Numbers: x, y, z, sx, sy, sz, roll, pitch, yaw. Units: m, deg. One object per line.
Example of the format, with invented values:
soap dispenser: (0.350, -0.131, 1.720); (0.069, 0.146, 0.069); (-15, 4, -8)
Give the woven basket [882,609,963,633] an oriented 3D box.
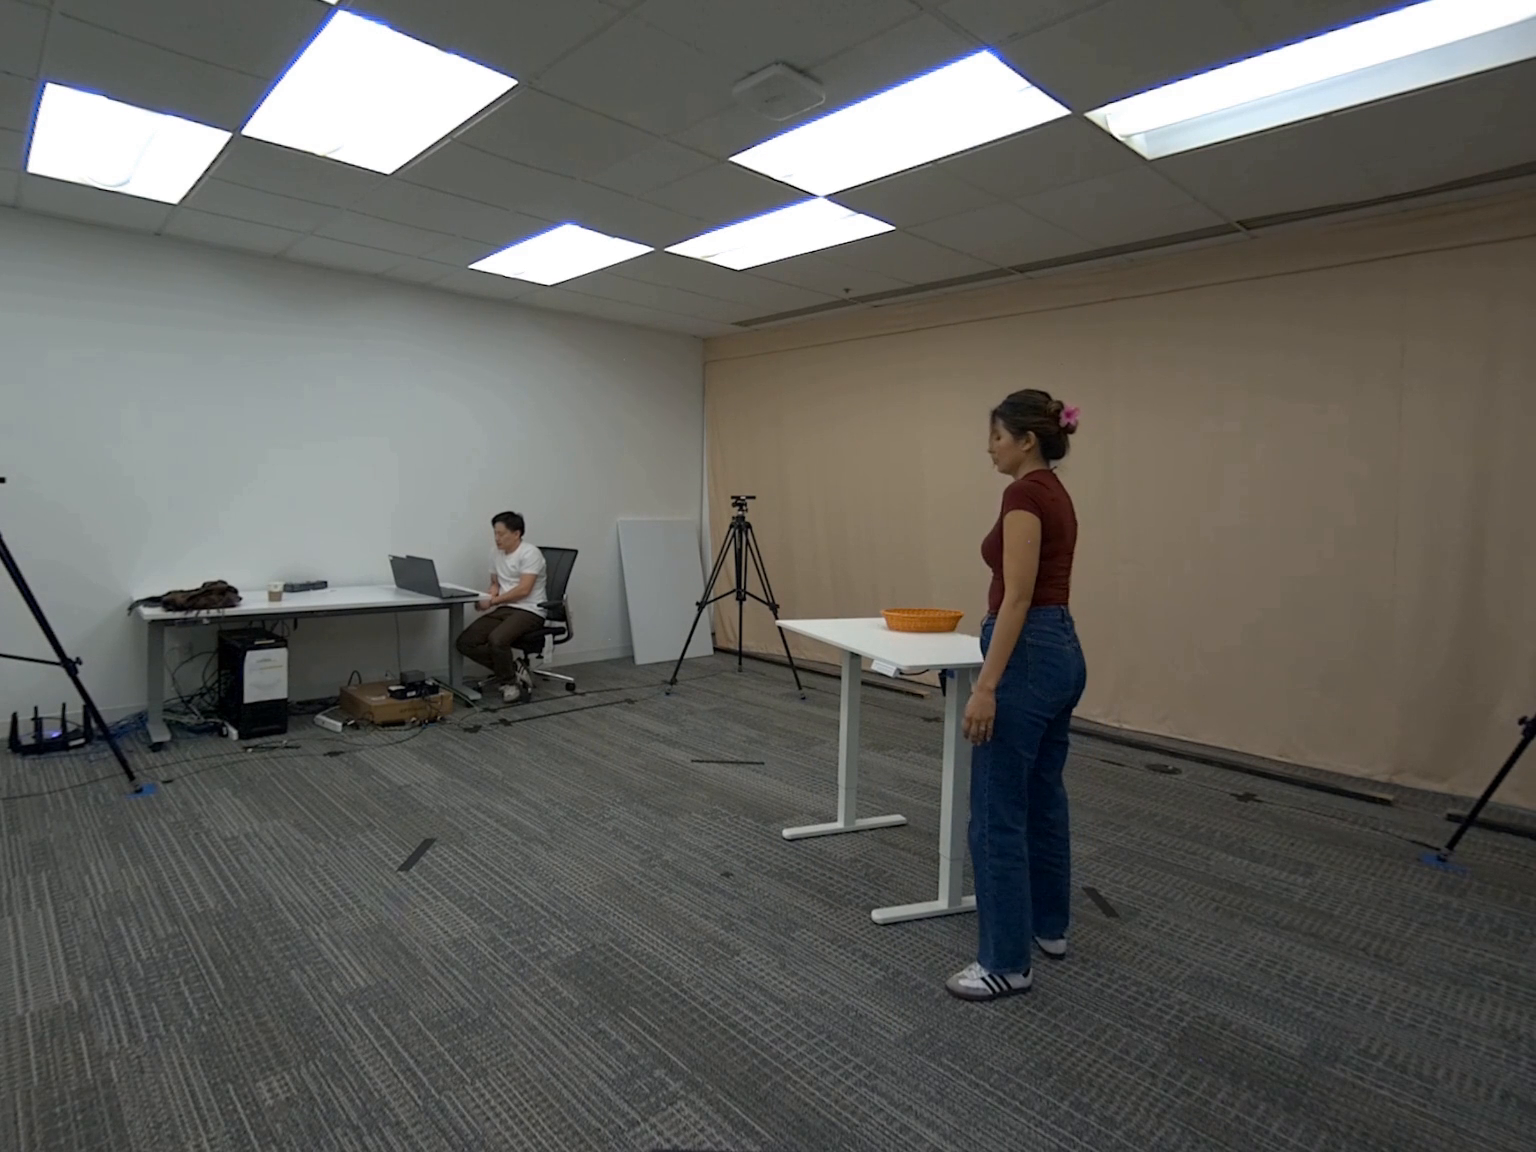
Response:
woven basket: (0.620, 0.184, 3.418); (0.345, 0.073, 0.256); (0, 4, -18)
